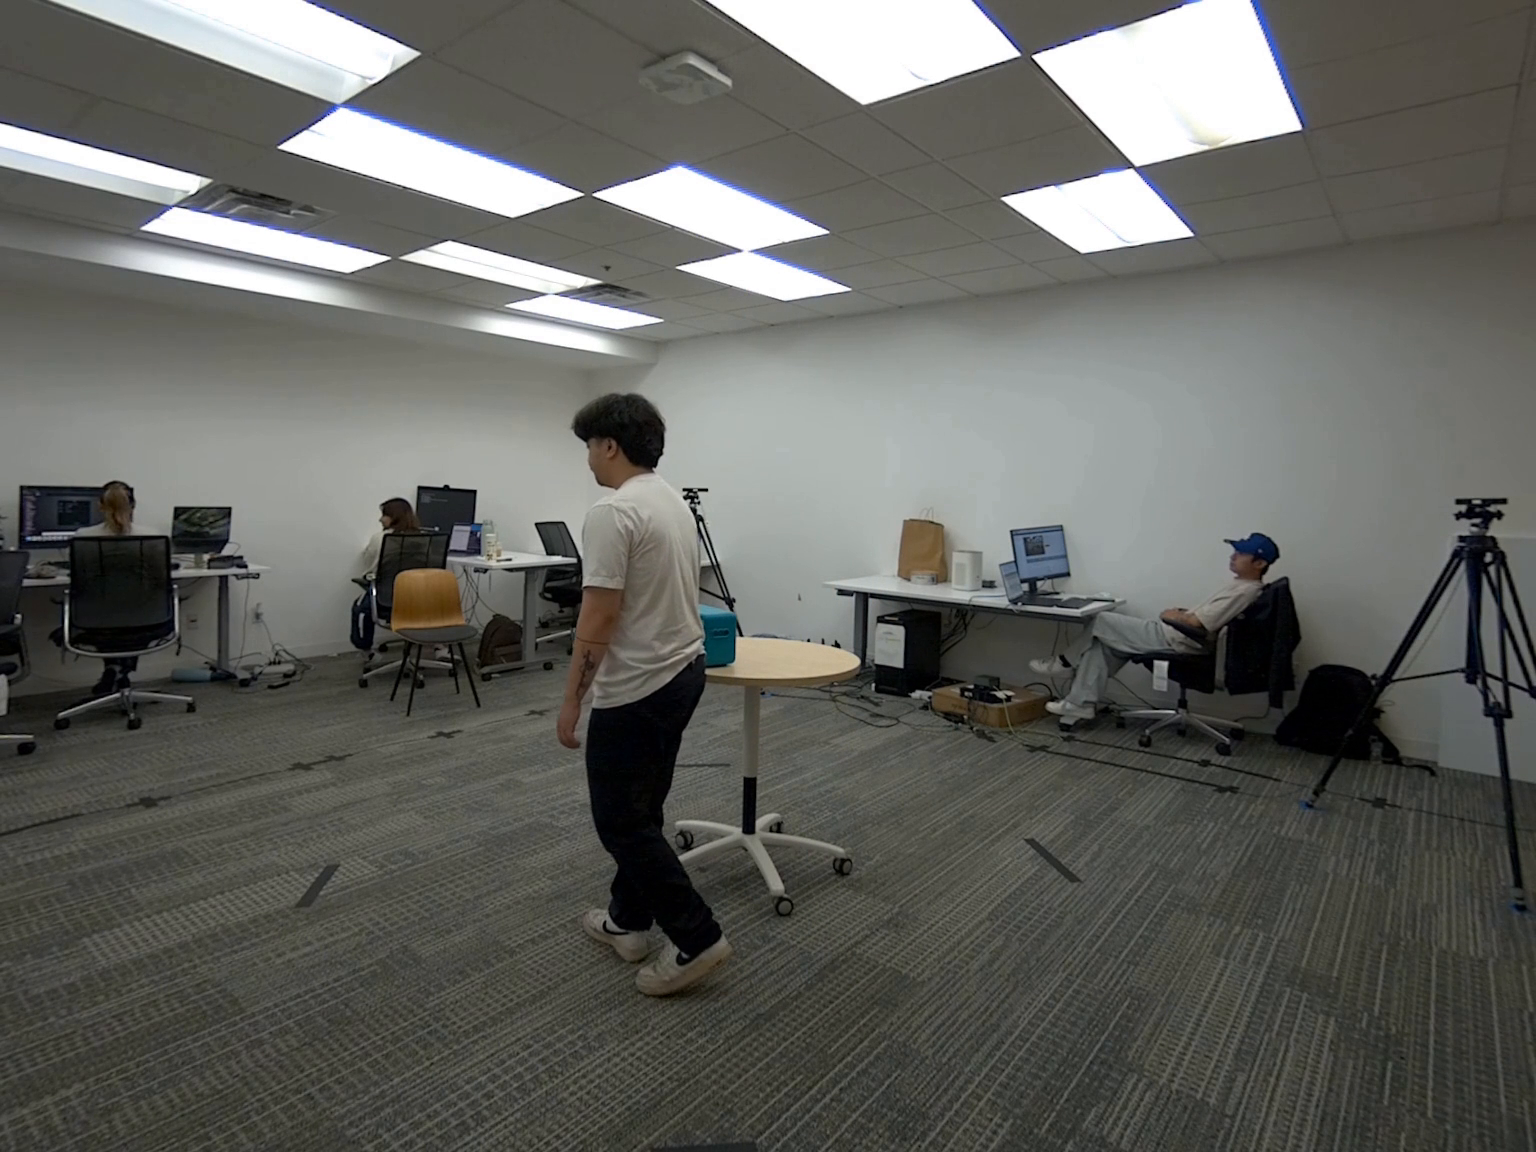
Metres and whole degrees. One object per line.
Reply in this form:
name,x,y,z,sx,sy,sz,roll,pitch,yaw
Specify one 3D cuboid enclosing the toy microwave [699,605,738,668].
toy microwave,-0.250,0.199,2.948,0.148,0.183,0.295,-1,5,-33
